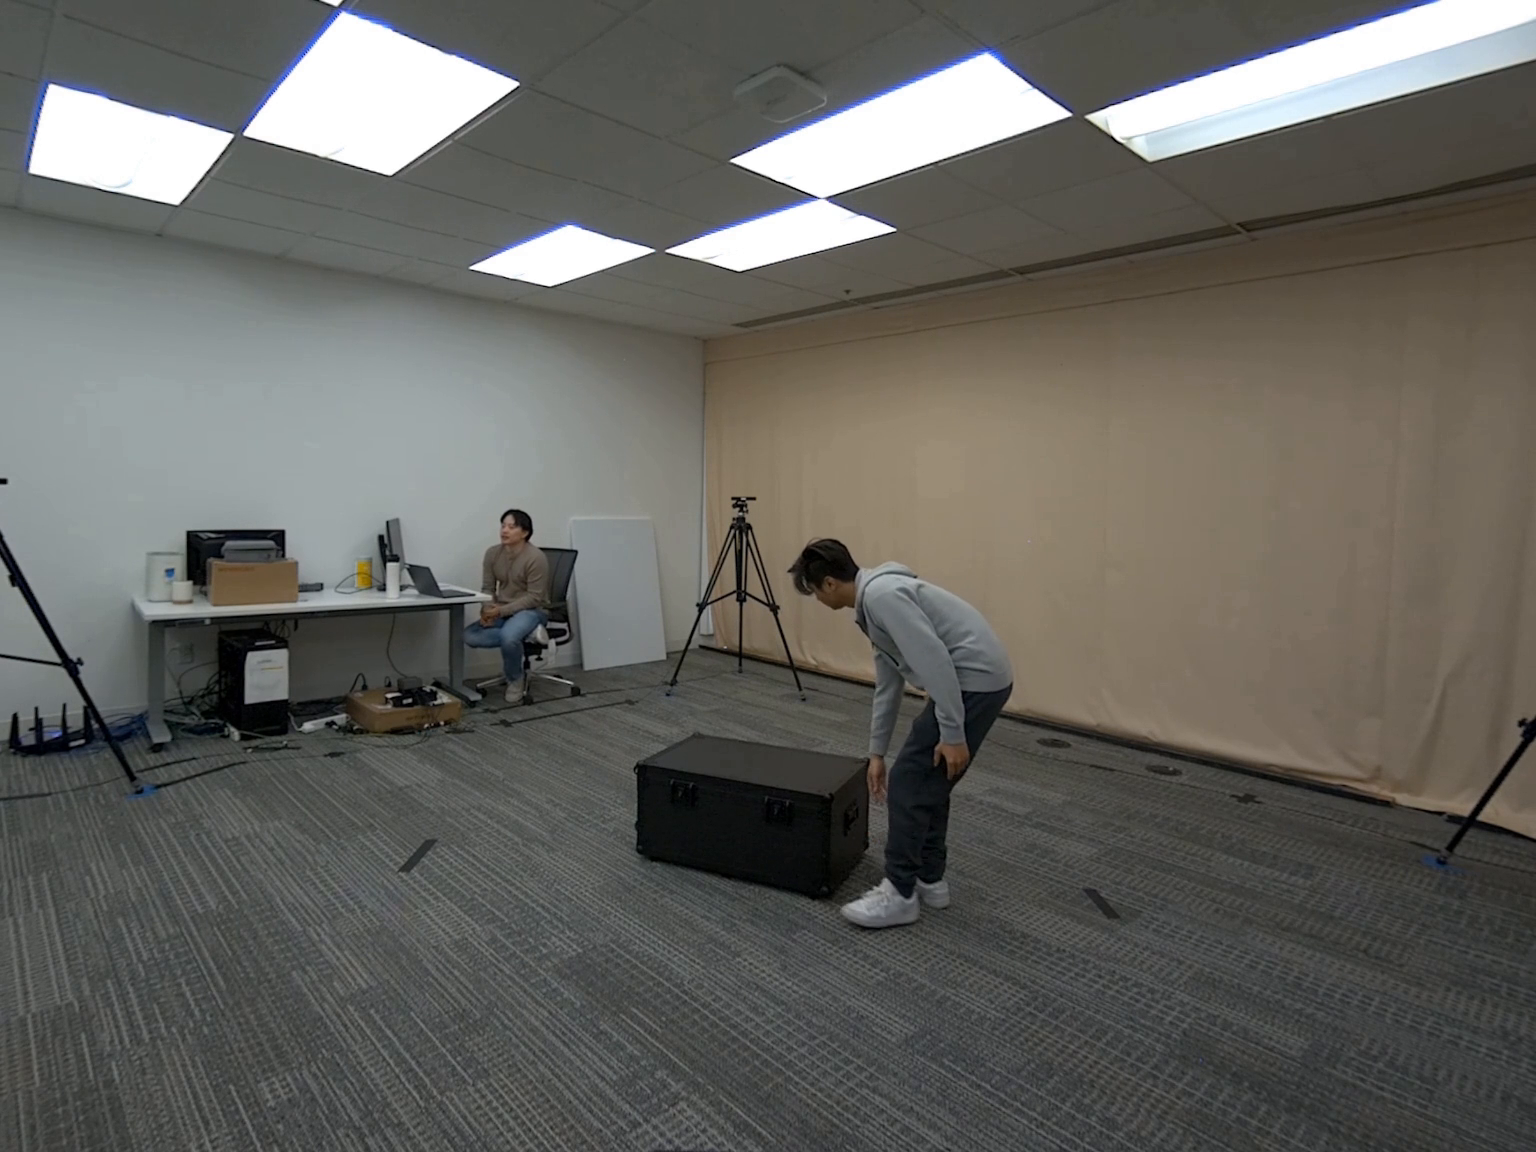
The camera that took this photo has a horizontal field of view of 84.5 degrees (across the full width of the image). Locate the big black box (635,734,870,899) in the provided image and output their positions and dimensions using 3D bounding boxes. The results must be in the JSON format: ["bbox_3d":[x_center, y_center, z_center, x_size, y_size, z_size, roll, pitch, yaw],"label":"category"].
[{"bbox_3d":[-0.031,0.906,3.254,0.878,0.395,0.513,3,5,25],"label":"big black box"}]
